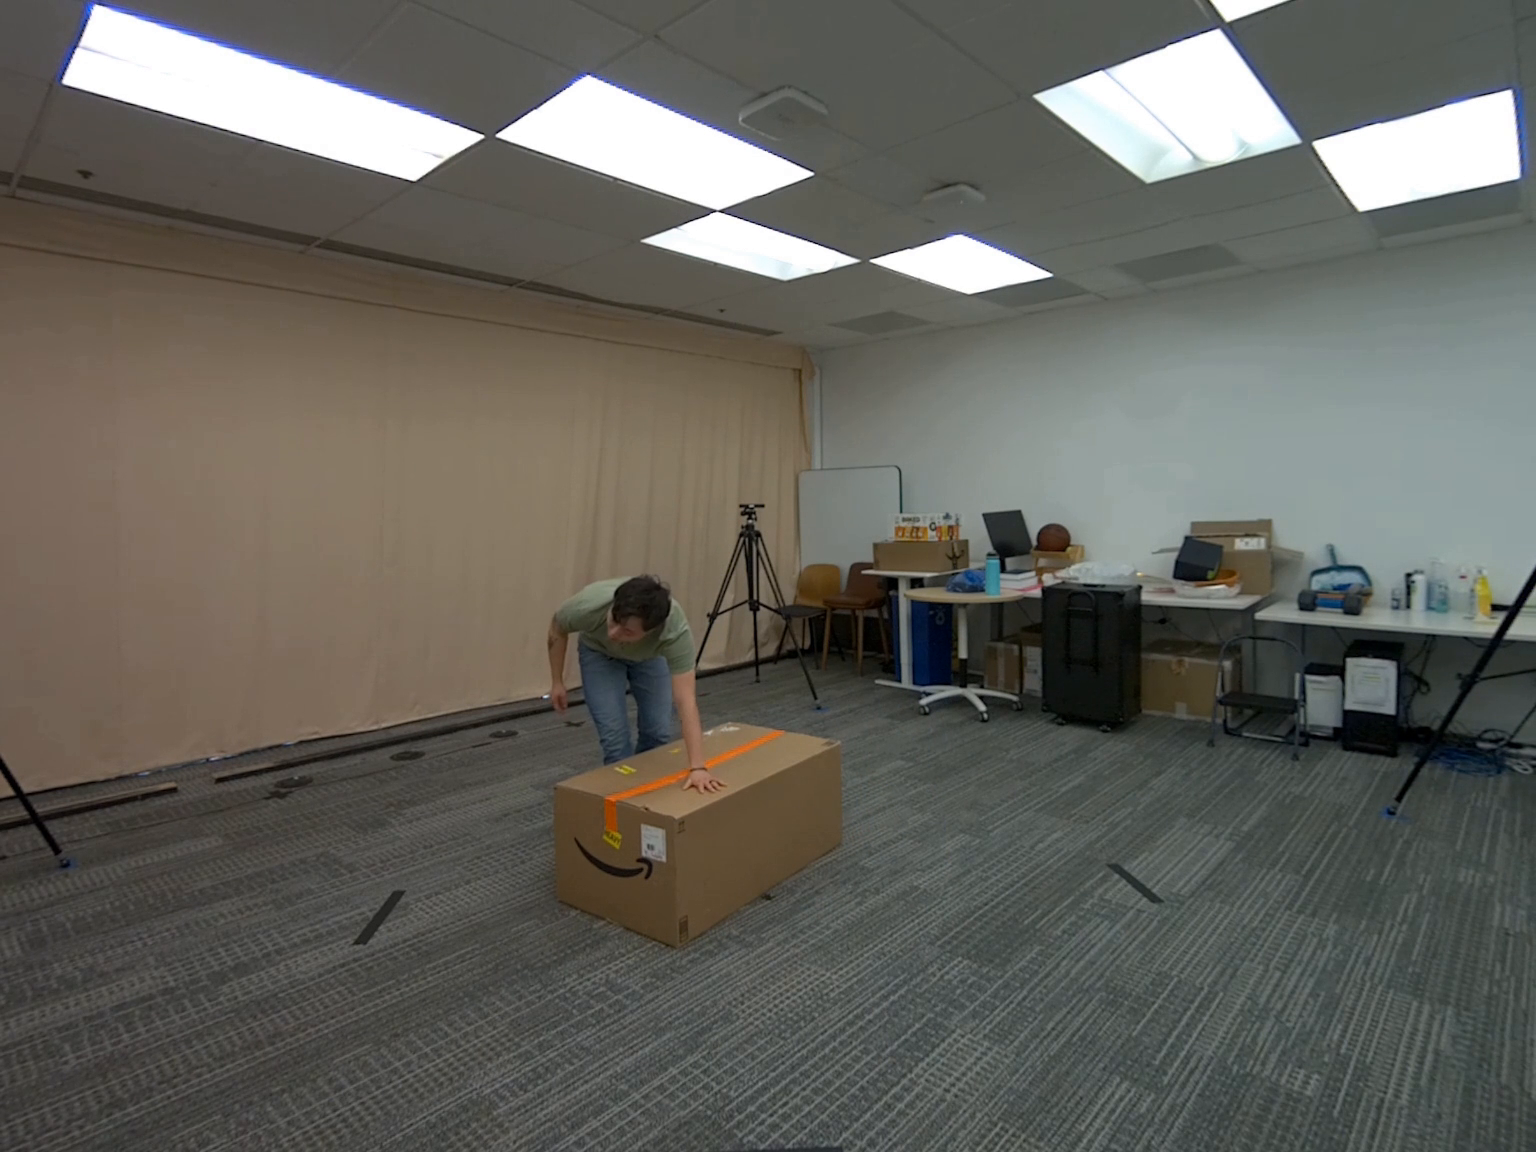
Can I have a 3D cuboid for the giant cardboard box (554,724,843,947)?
[{"bbox_3d":[-0.223,0.915,3.202,0.596,0.425,0.996,1,5,37],"label":"giant cardboard box"}]
